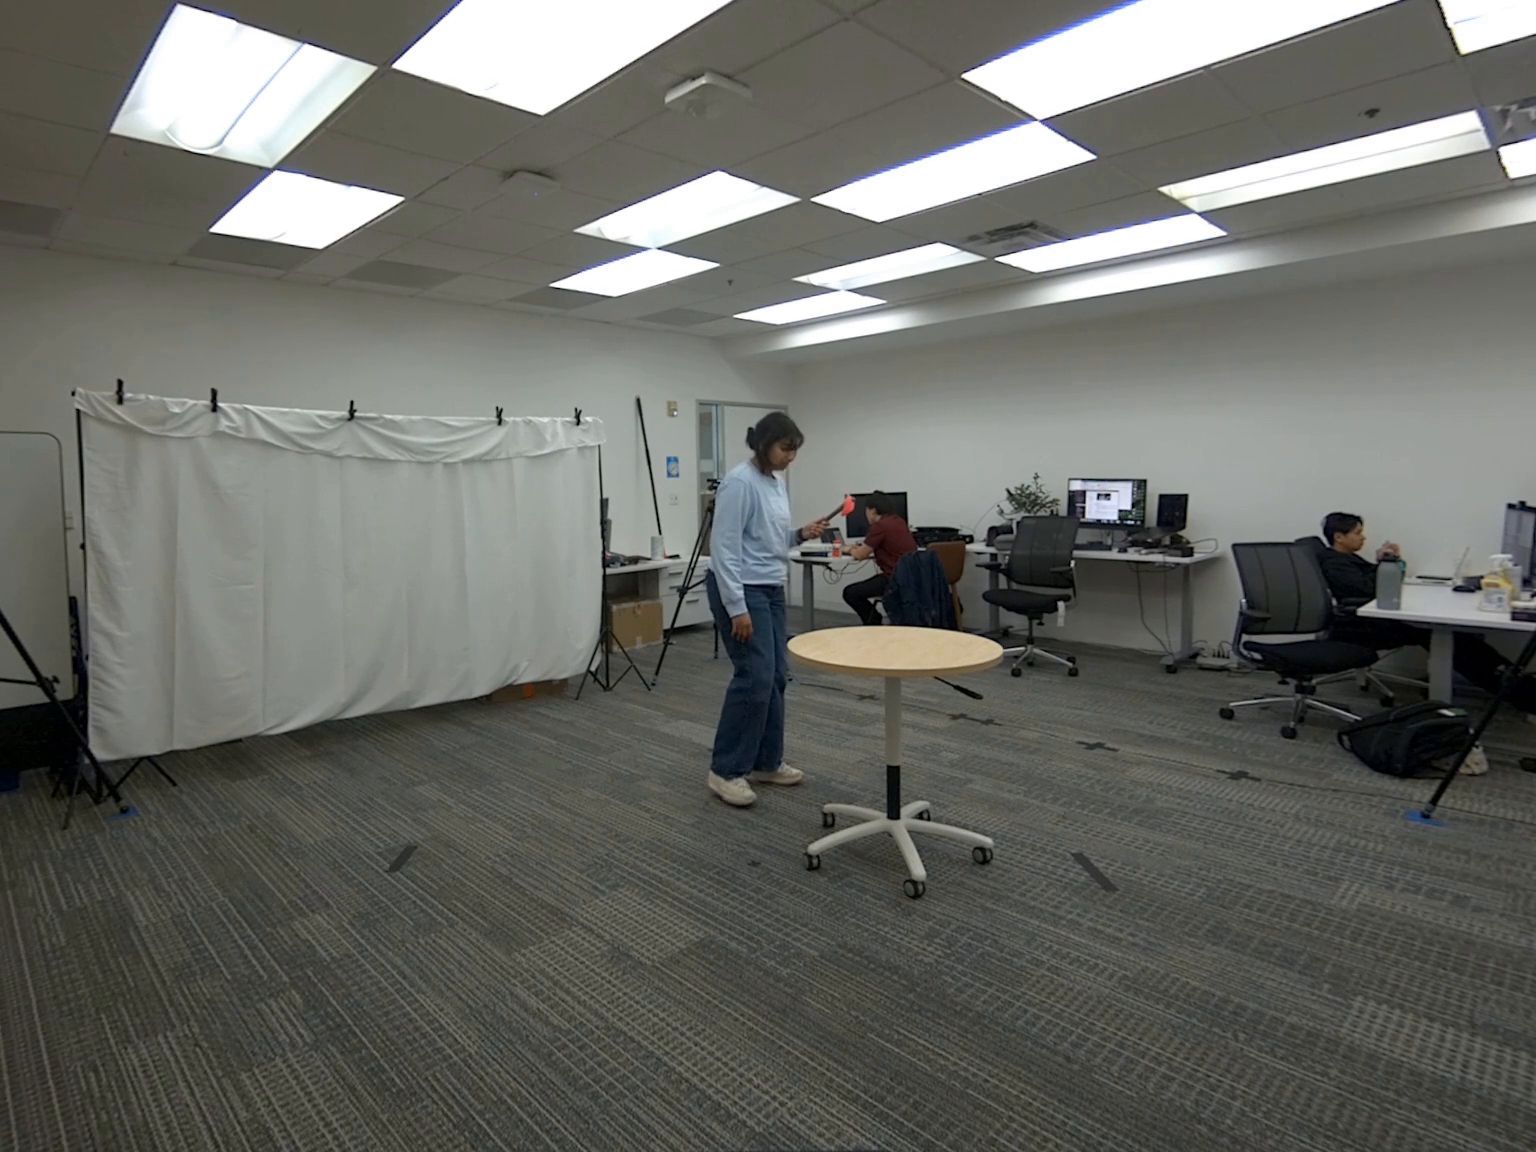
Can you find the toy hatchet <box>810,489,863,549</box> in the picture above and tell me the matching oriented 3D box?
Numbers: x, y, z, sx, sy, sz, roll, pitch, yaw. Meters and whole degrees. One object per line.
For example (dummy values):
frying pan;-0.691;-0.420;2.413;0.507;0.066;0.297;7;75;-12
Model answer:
toy hatchet;0.287;-0.256;3.793;0.029;0.270;0.135;39;10;-28
